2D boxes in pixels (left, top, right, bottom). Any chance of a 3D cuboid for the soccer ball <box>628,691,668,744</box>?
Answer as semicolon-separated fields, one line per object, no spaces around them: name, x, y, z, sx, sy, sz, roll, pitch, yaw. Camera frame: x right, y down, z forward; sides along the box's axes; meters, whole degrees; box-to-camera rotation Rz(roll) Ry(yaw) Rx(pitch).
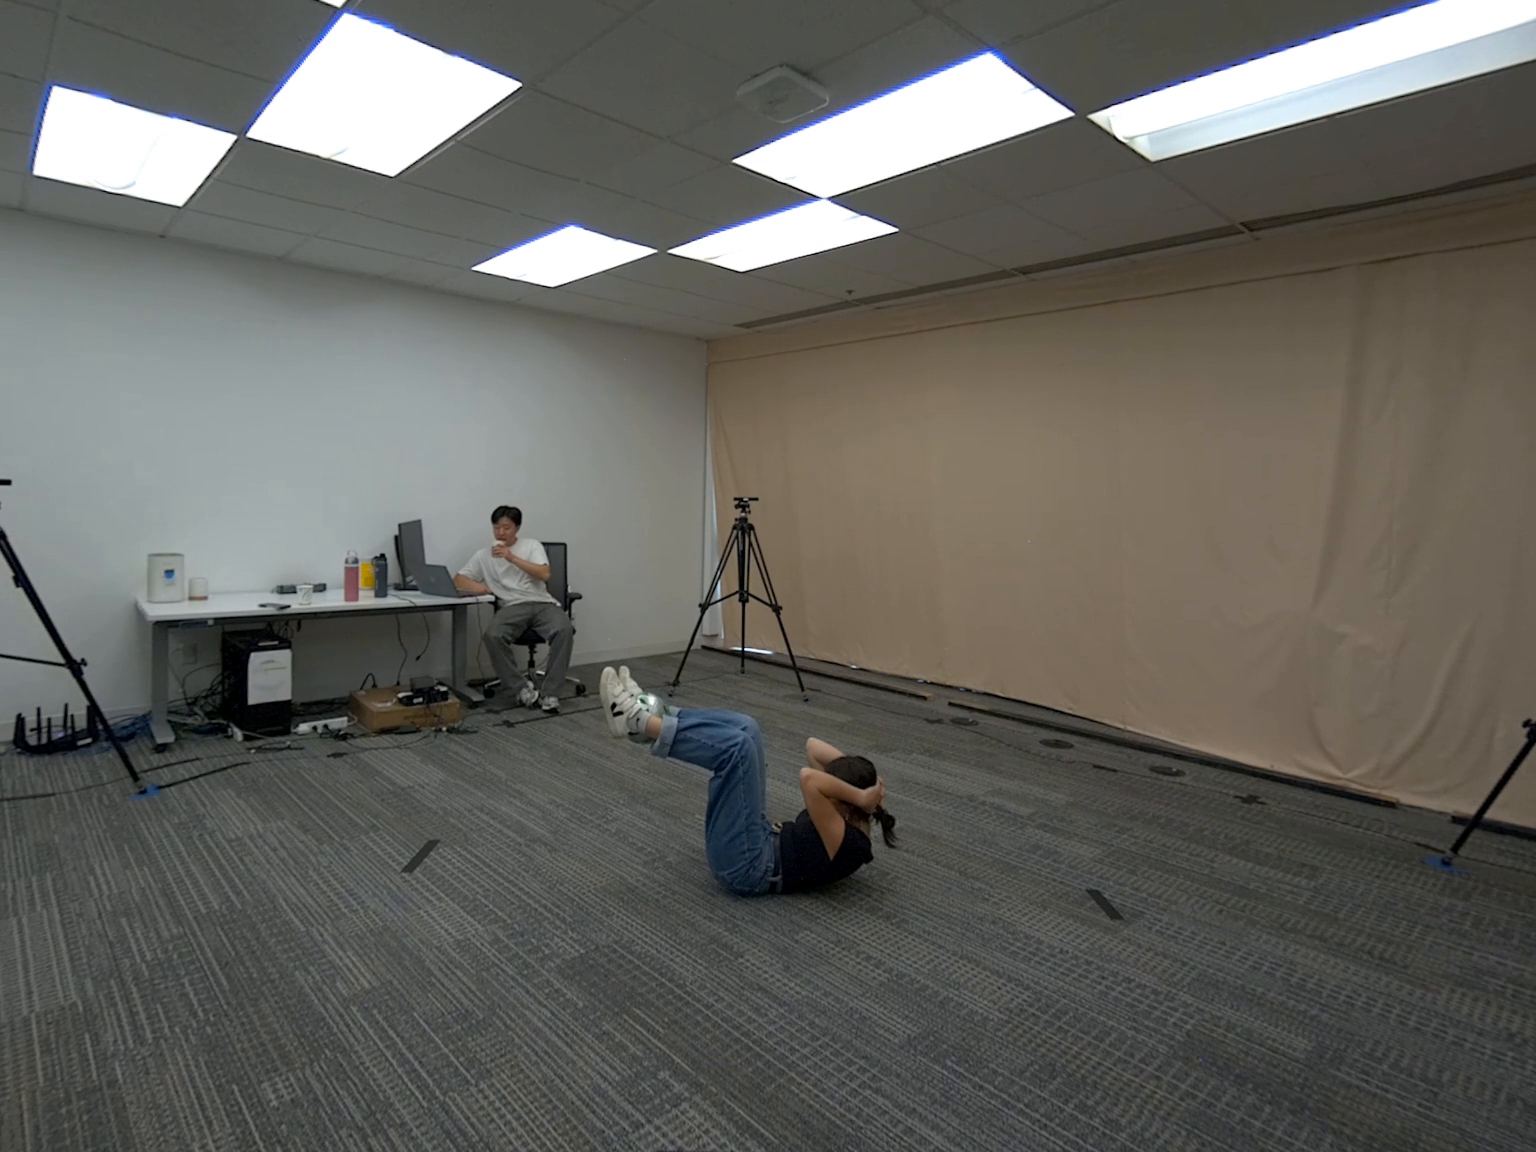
soccer ball;-0.469;0.532;3.102;0.187;0.186;0.188;1;7;-1
